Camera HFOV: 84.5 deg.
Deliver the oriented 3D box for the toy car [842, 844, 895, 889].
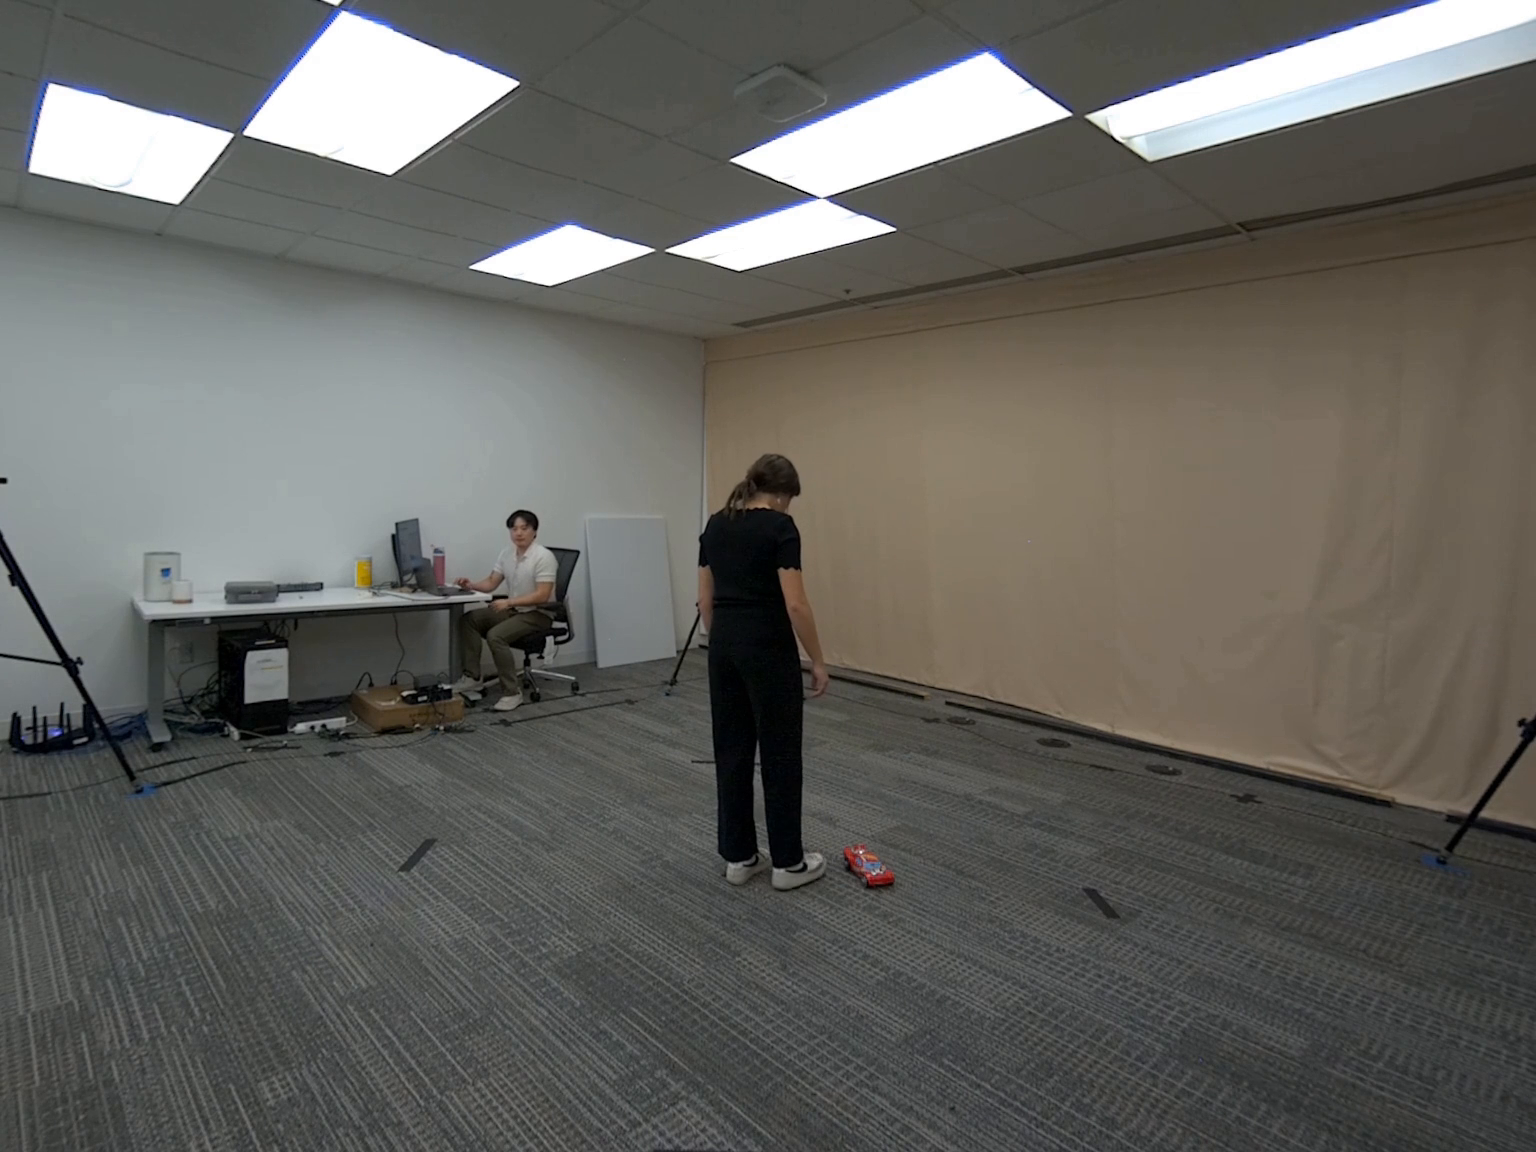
[{"bbox_3d":[0.356,1.081,3.139,0.128,0.082,0.260,1,16,-19],"label":"toy car"}]
